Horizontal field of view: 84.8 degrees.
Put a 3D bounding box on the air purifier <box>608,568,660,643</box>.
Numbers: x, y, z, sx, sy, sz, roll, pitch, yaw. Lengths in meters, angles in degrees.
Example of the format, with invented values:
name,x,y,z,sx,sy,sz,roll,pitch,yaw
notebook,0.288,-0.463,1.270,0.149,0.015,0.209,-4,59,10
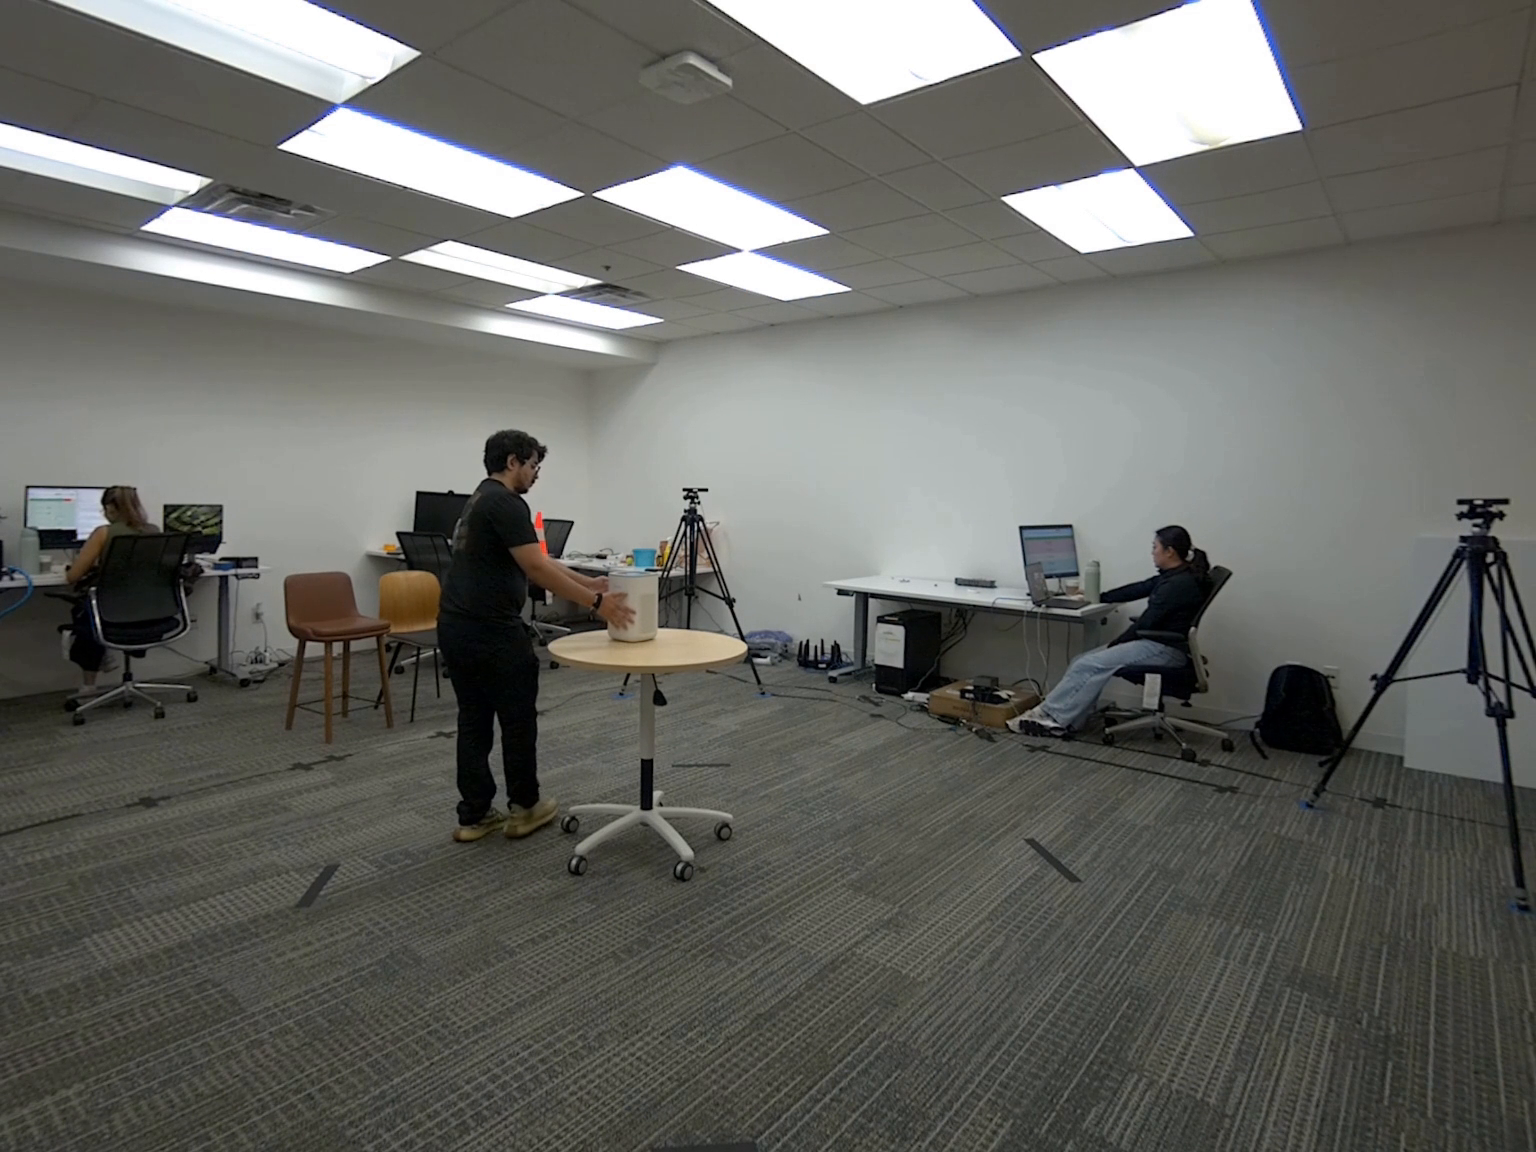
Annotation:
name,x,y,z,sx,sy,sz,roll,pitch,yaw
air purifier,-0.555,0.123,3.405,0.176,0.265,0.167,3,4,33
